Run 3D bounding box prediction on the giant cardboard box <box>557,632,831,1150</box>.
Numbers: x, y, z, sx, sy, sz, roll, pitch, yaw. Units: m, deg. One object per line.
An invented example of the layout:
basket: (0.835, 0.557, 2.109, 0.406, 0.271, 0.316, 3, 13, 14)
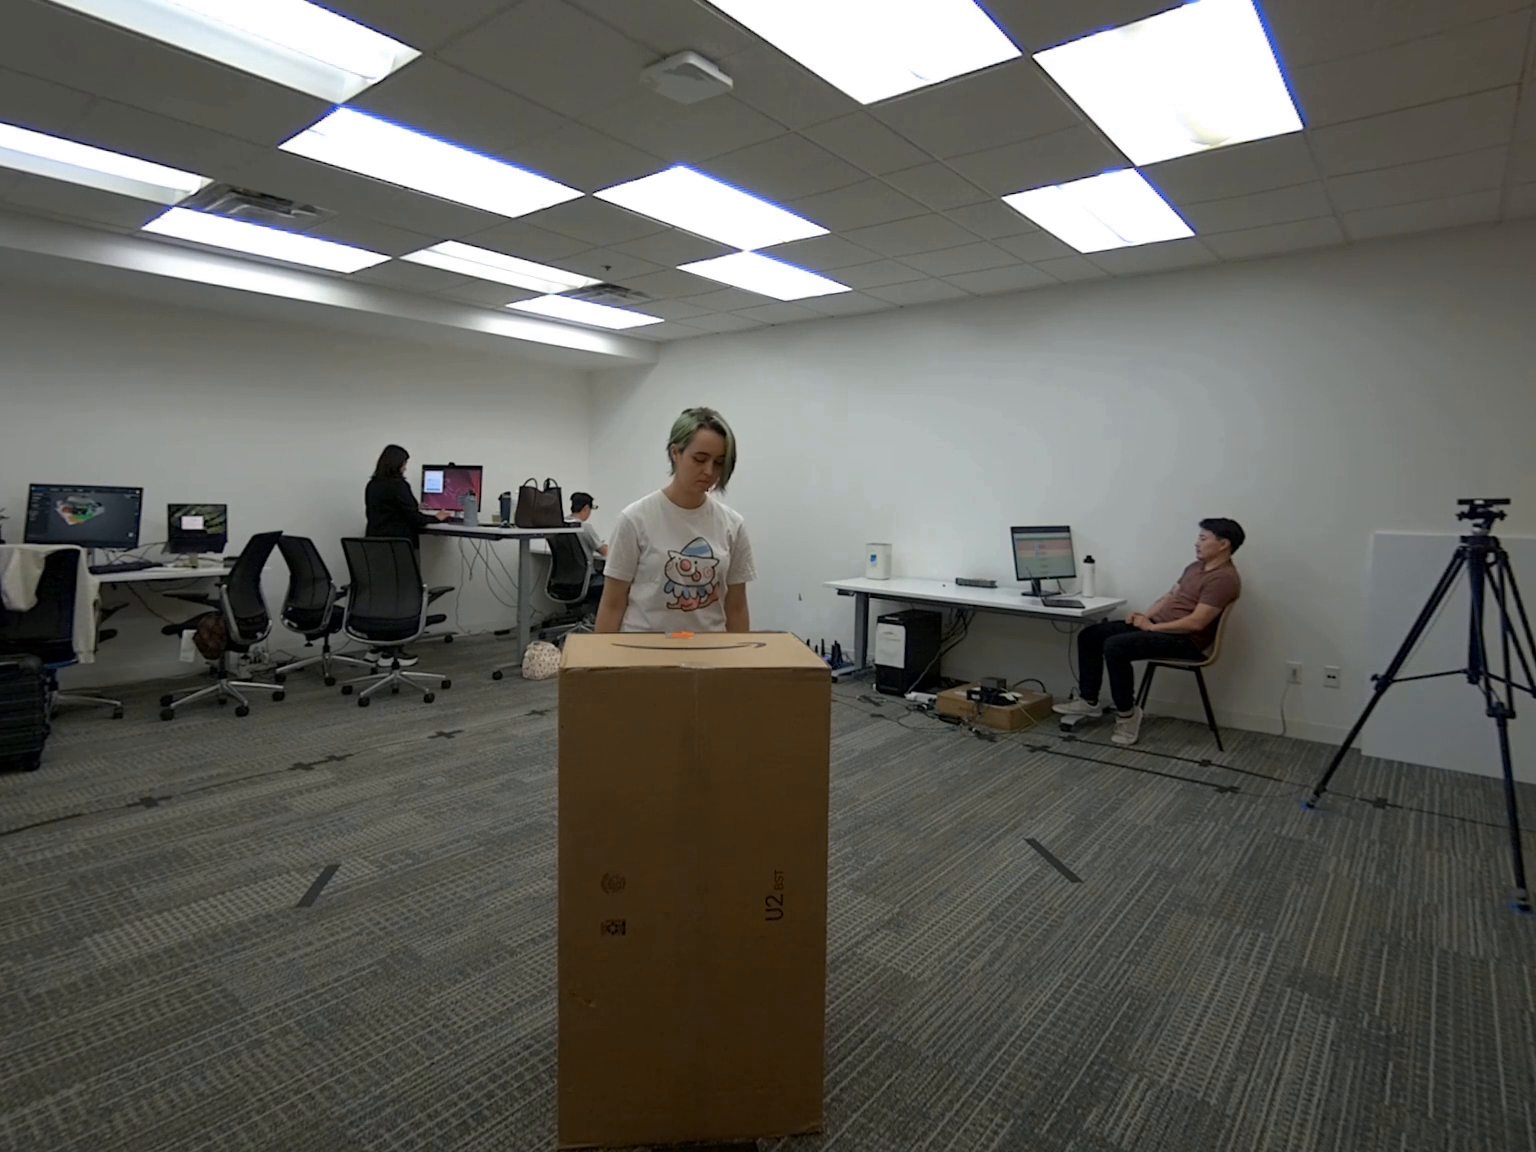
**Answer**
giant cardboard box: (-0.198, 0.675, 1.993, 0.579, 1.023, 0.452, 0, 4, -8)
